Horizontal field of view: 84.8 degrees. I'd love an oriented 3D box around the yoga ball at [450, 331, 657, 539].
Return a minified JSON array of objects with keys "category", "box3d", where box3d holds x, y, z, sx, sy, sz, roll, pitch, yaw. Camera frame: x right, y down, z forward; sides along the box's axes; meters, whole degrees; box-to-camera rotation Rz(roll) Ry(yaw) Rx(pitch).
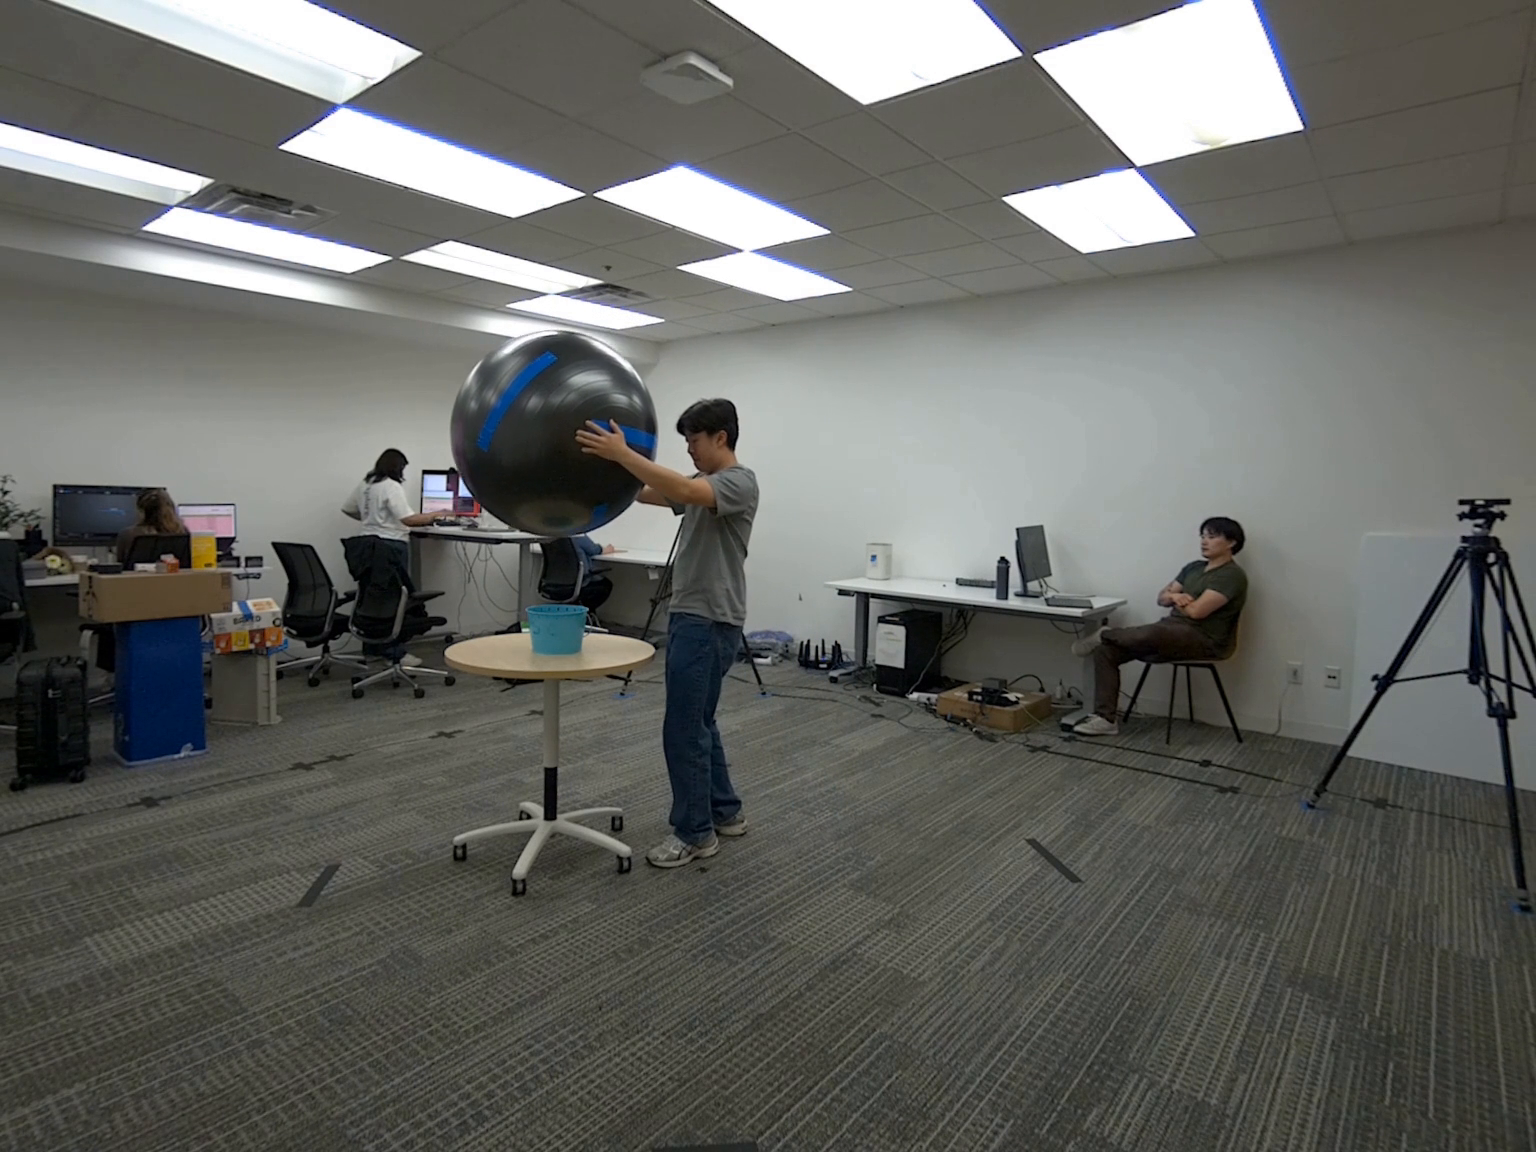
[{"category":"yoga ball","box3d":[-0.805,-0.520,3.168,0.757,0.755,0.762,1,4,-2]}]
